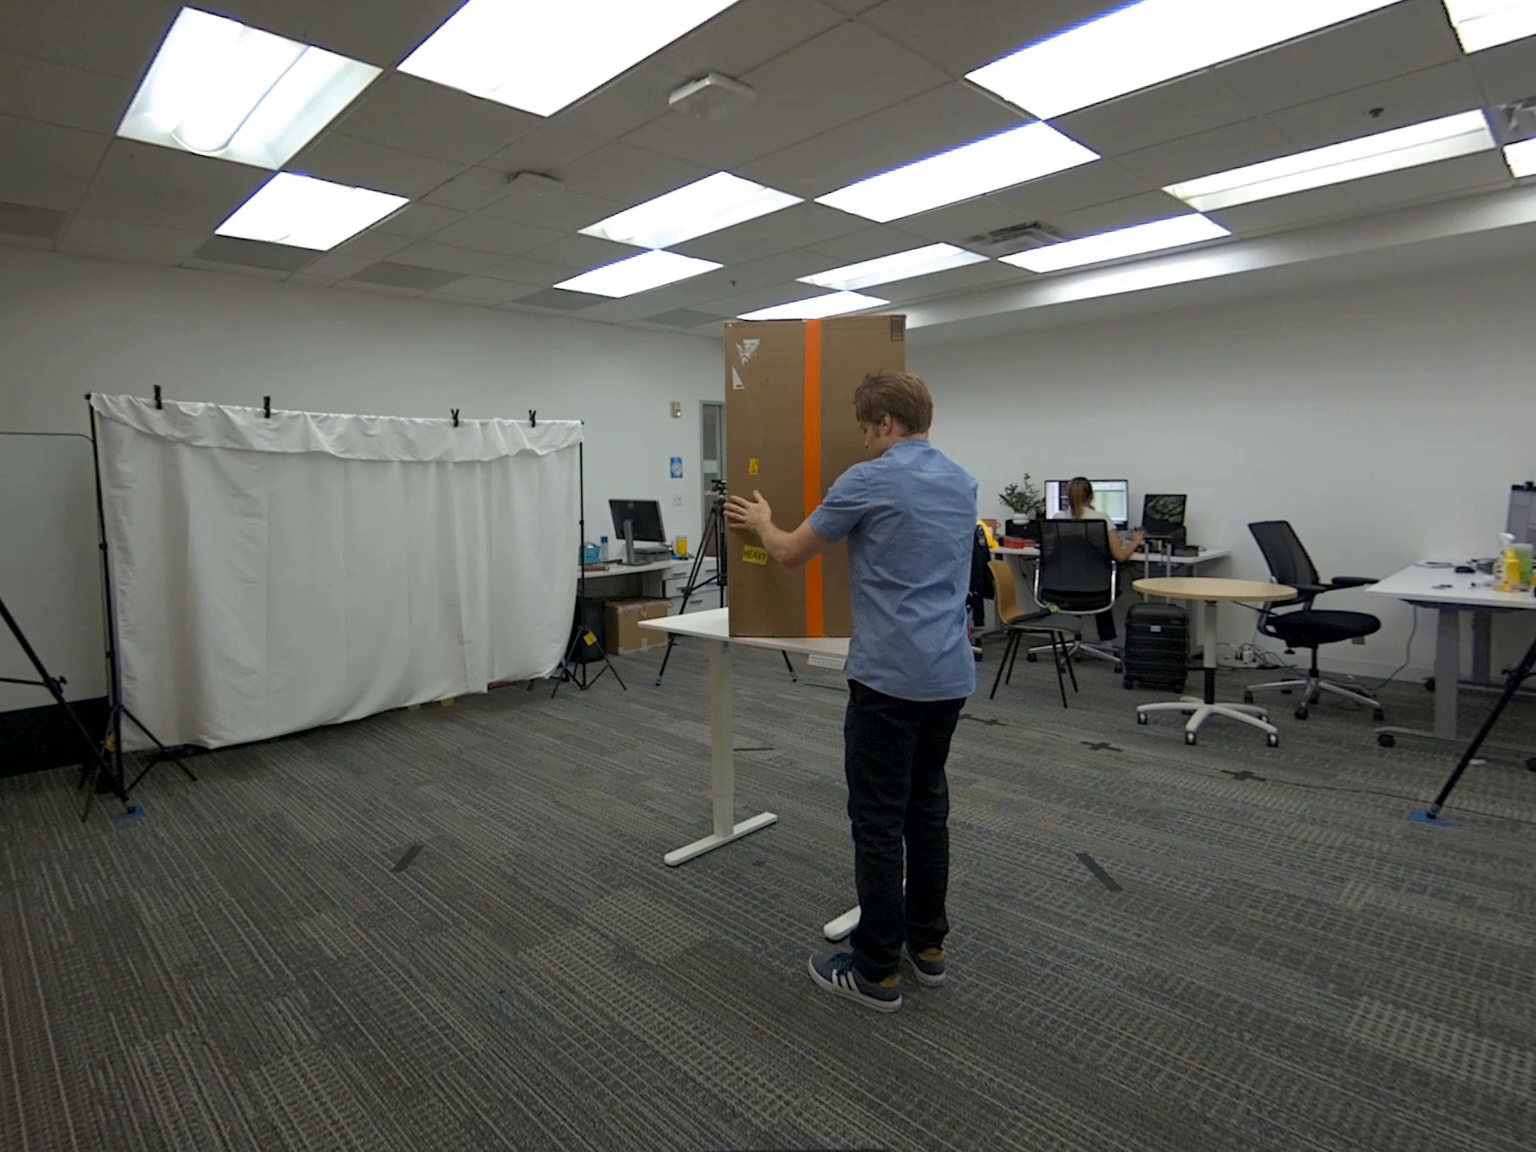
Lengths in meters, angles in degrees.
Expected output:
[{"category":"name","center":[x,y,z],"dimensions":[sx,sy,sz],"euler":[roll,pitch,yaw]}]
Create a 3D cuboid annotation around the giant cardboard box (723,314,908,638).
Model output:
[{"category":"giant cardboard box","center":[0.162,-0.331,2.933],"dimensions":[0.581,1.023,0.425],"euler":[0,3,6]}]
